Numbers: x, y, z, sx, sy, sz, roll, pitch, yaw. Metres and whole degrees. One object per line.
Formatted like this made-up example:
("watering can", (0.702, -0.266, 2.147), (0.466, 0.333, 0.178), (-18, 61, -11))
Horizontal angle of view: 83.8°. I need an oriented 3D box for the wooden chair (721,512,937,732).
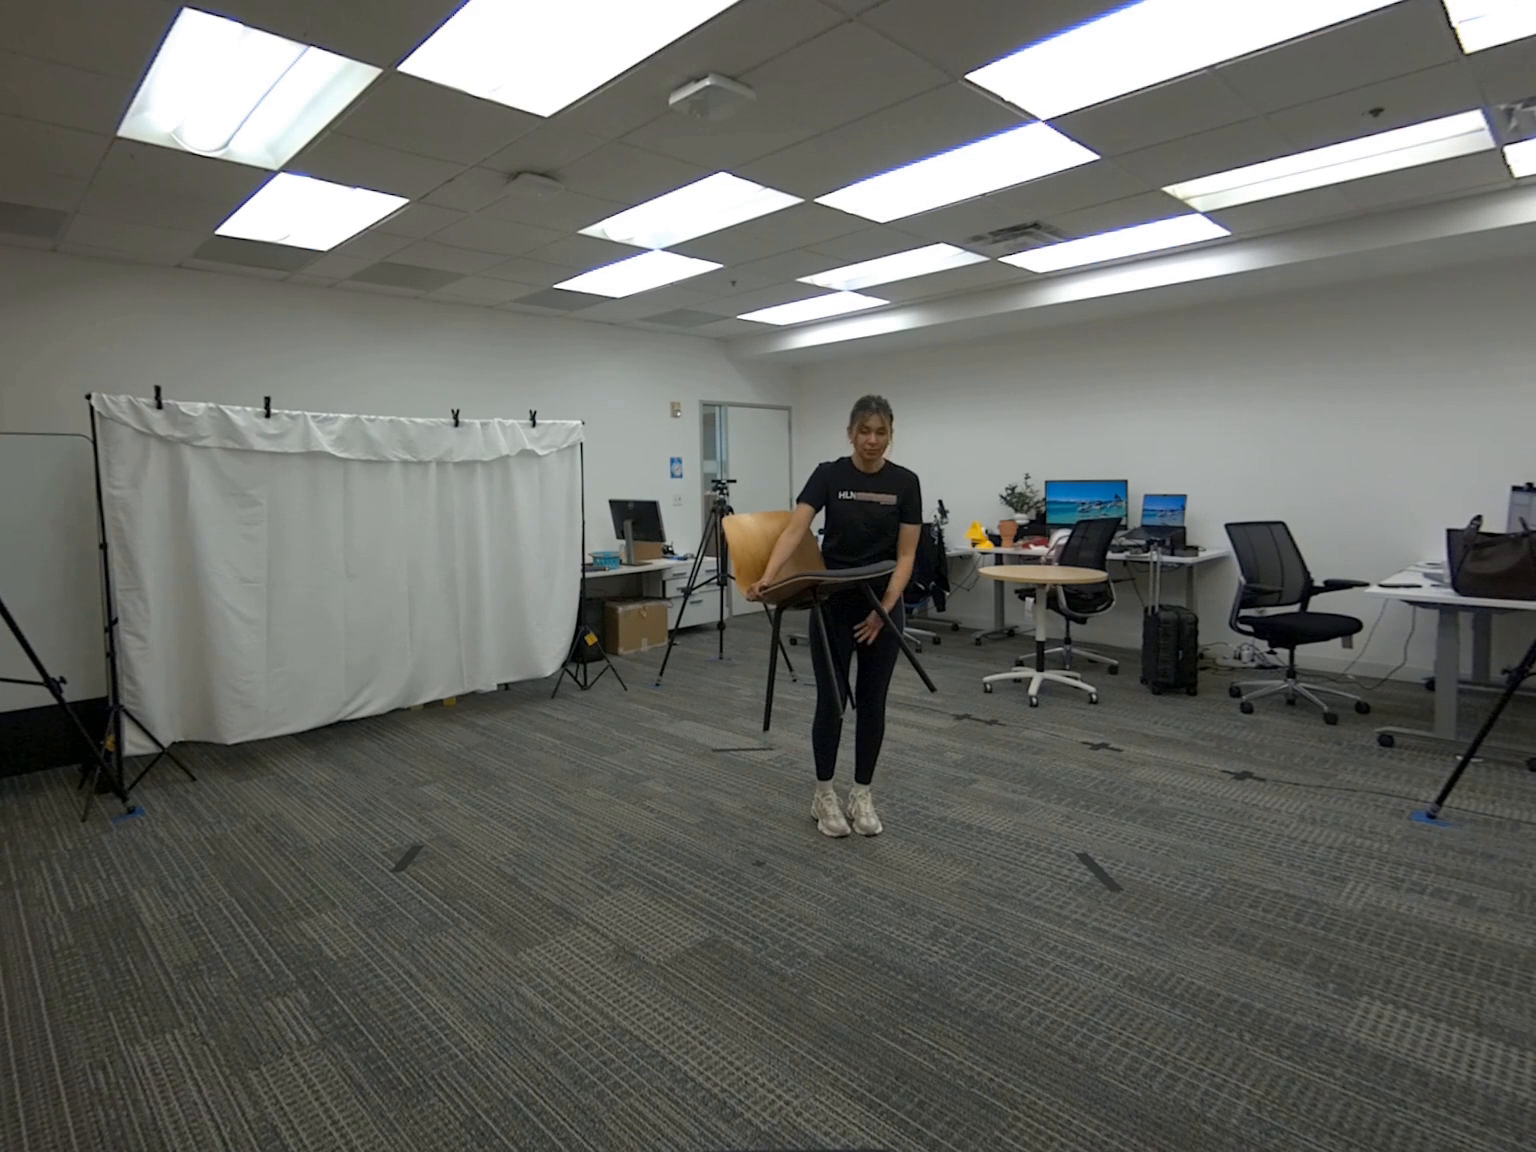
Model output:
("wooden chair", (0.191, 0.077, 3.120), (0.466, 0.893, 0.527), (-5, -18, -35))
